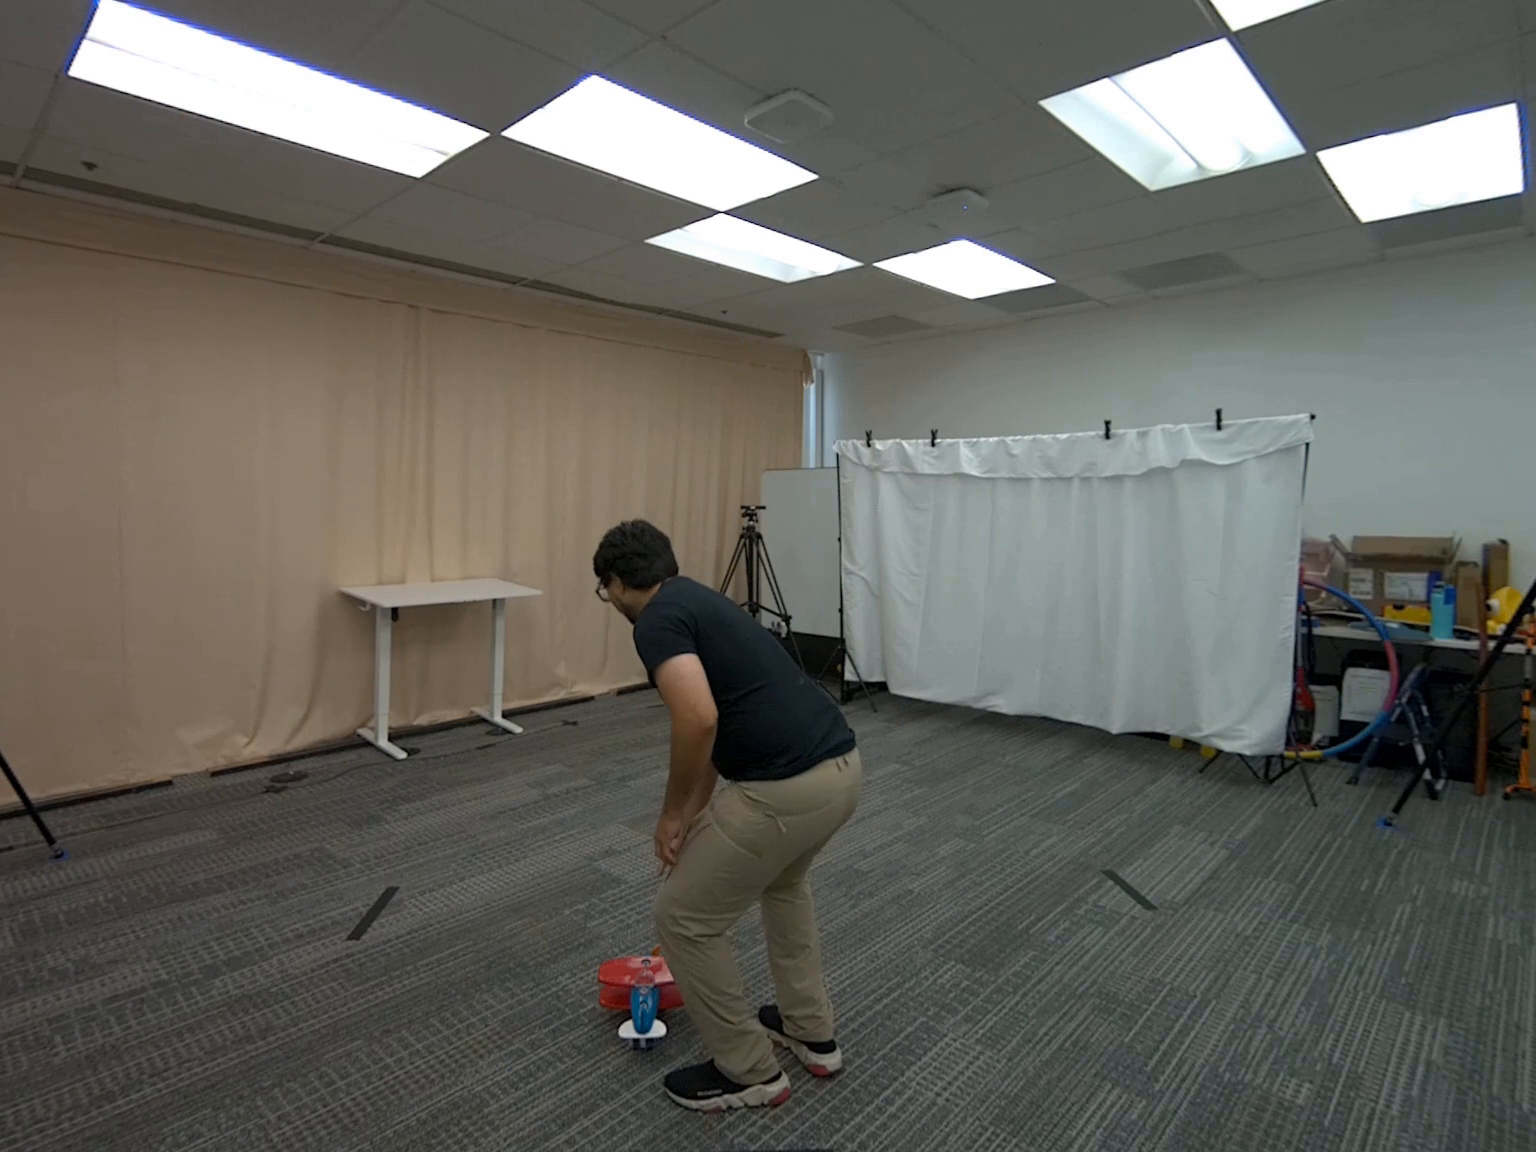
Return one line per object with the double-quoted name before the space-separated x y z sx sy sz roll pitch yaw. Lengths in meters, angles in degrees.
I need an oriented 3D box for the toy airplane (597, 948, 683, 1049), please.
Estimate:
"toy airplane" -0.313 1.132 2.249 0.244 0.156 0.267 -3 4 -31
